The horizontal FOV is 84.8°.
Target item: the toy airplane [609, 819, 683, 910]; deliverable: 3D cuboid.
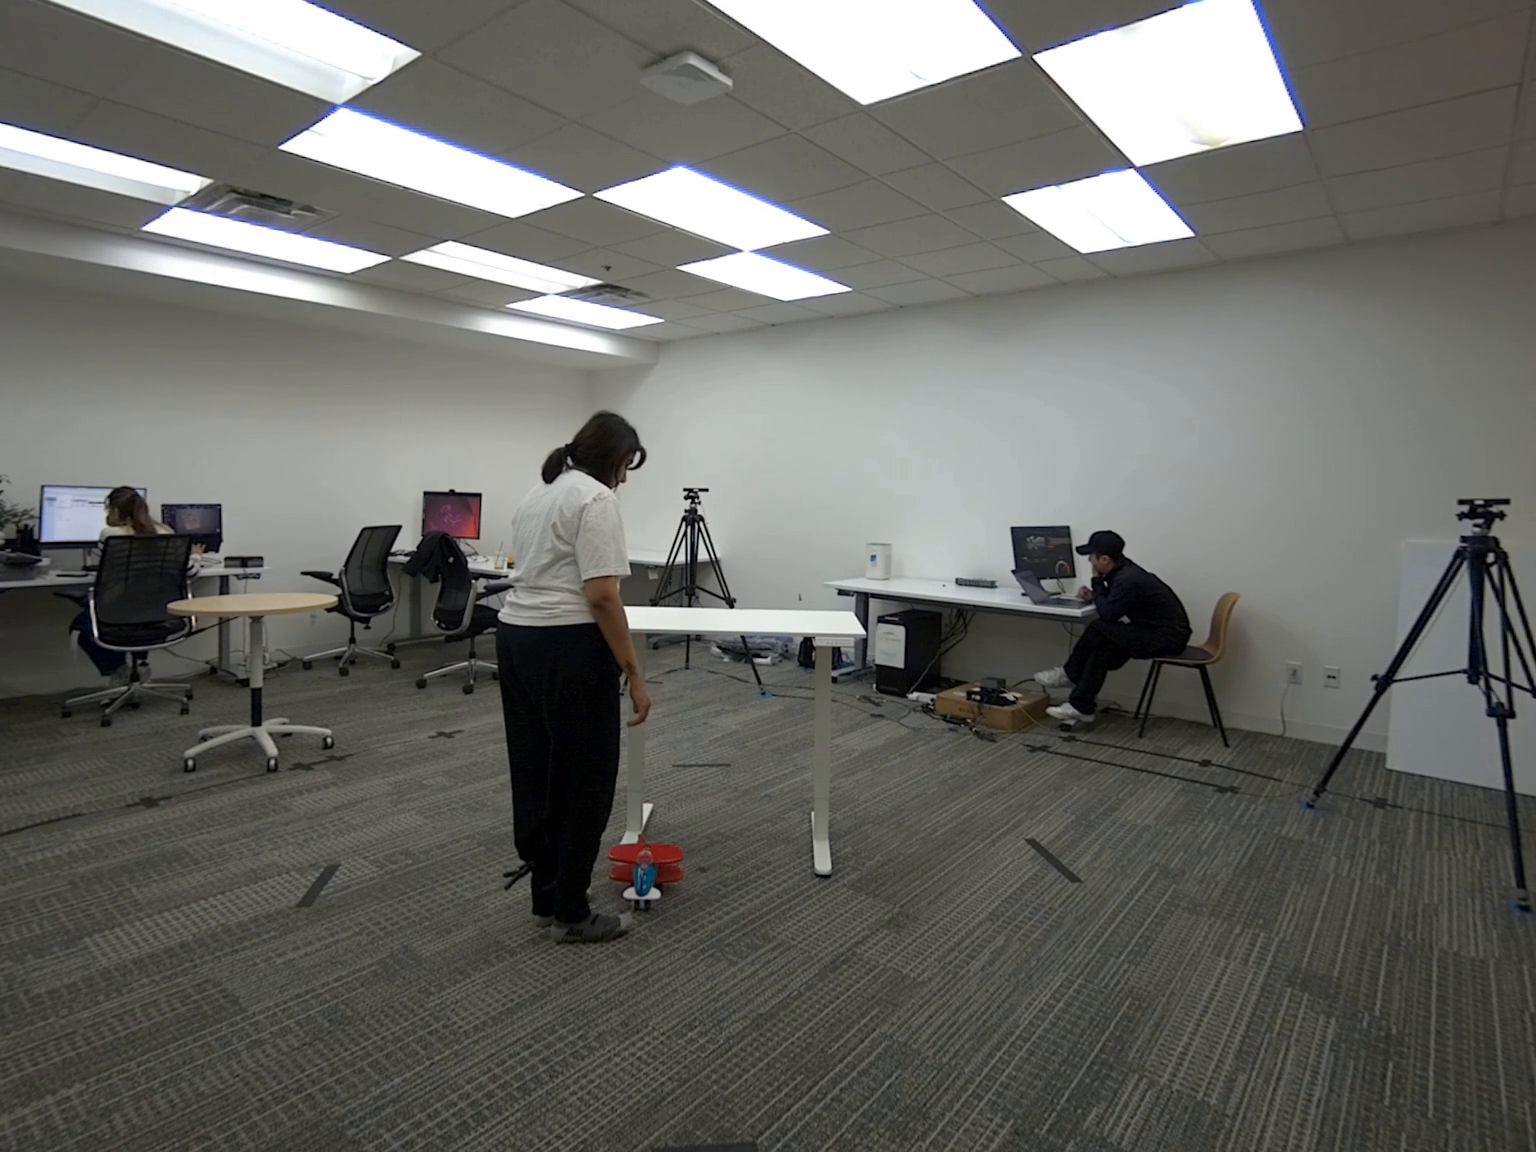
[{"bbox_3d":[-0.405,1.011,2.886,0.244,0.156,0.267,-3,5,-32],"label":"toy airplane"}]
